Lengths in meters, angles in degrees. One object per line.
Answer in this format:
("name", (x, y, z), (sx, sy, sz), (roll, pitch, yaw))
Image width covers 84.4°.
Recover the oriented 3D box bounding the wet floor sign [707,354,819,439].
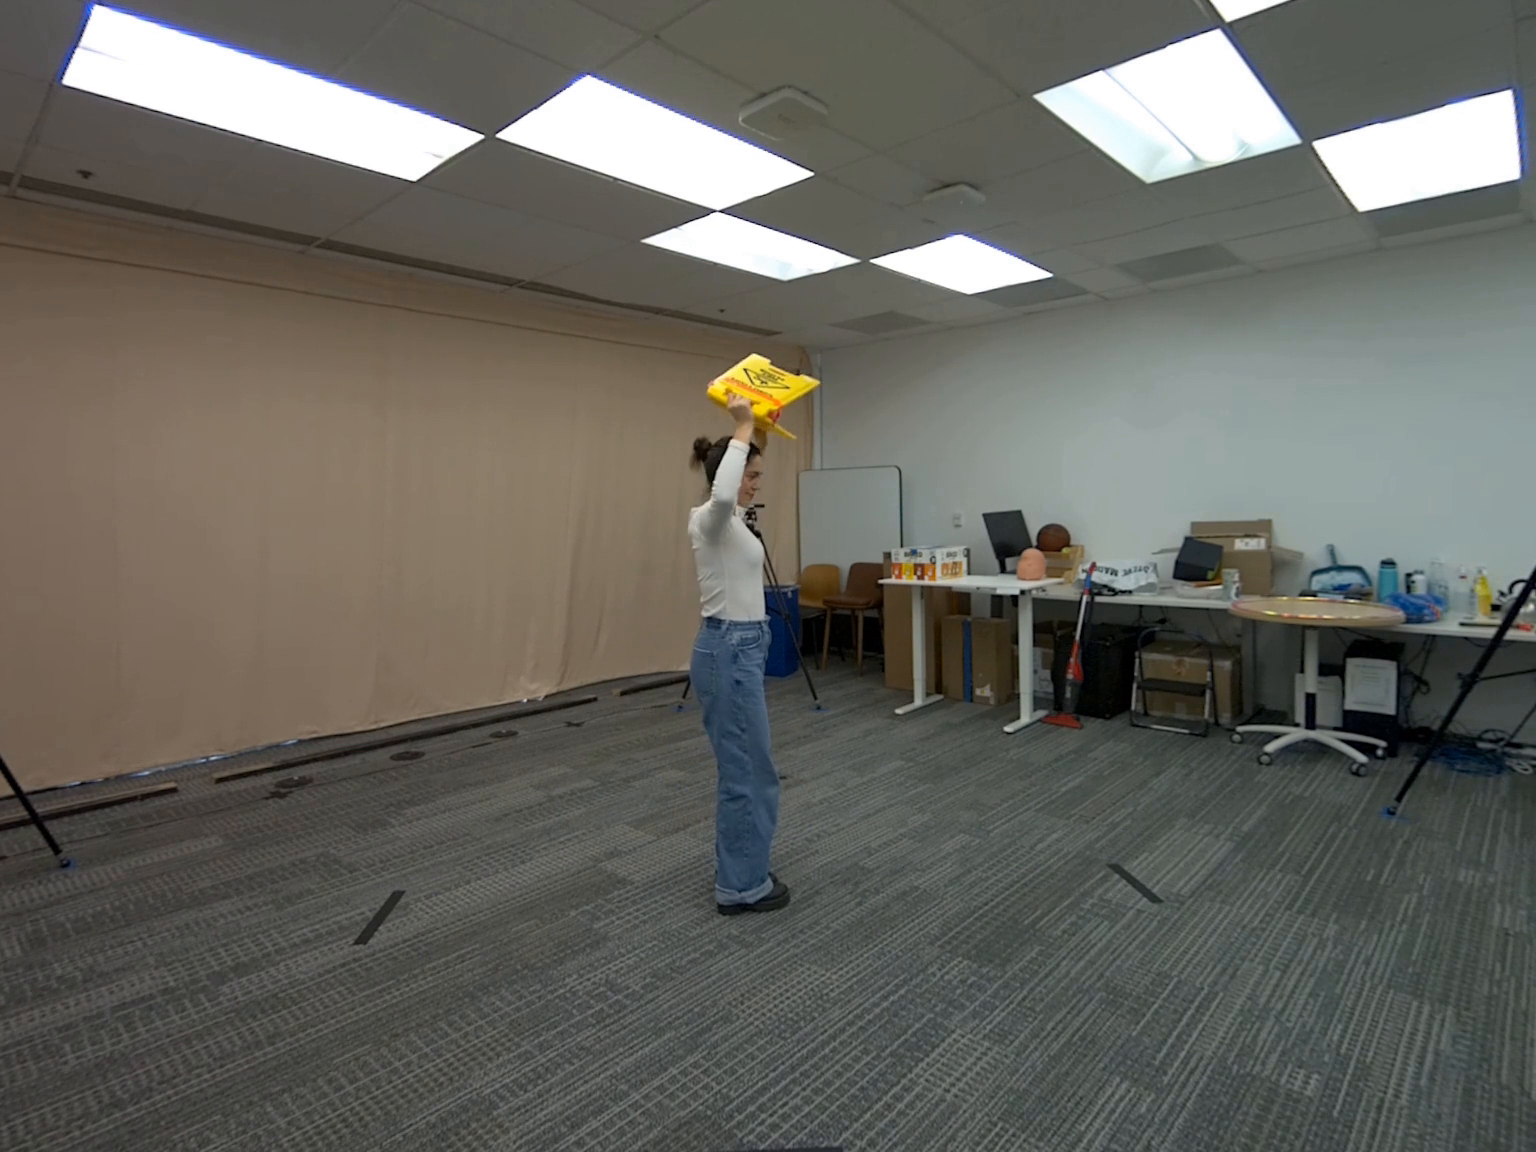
("wet floor sign", (-0.034, -0.603, 2.887), (0.285, 0.289, 0.641), (24, 15, 6))
